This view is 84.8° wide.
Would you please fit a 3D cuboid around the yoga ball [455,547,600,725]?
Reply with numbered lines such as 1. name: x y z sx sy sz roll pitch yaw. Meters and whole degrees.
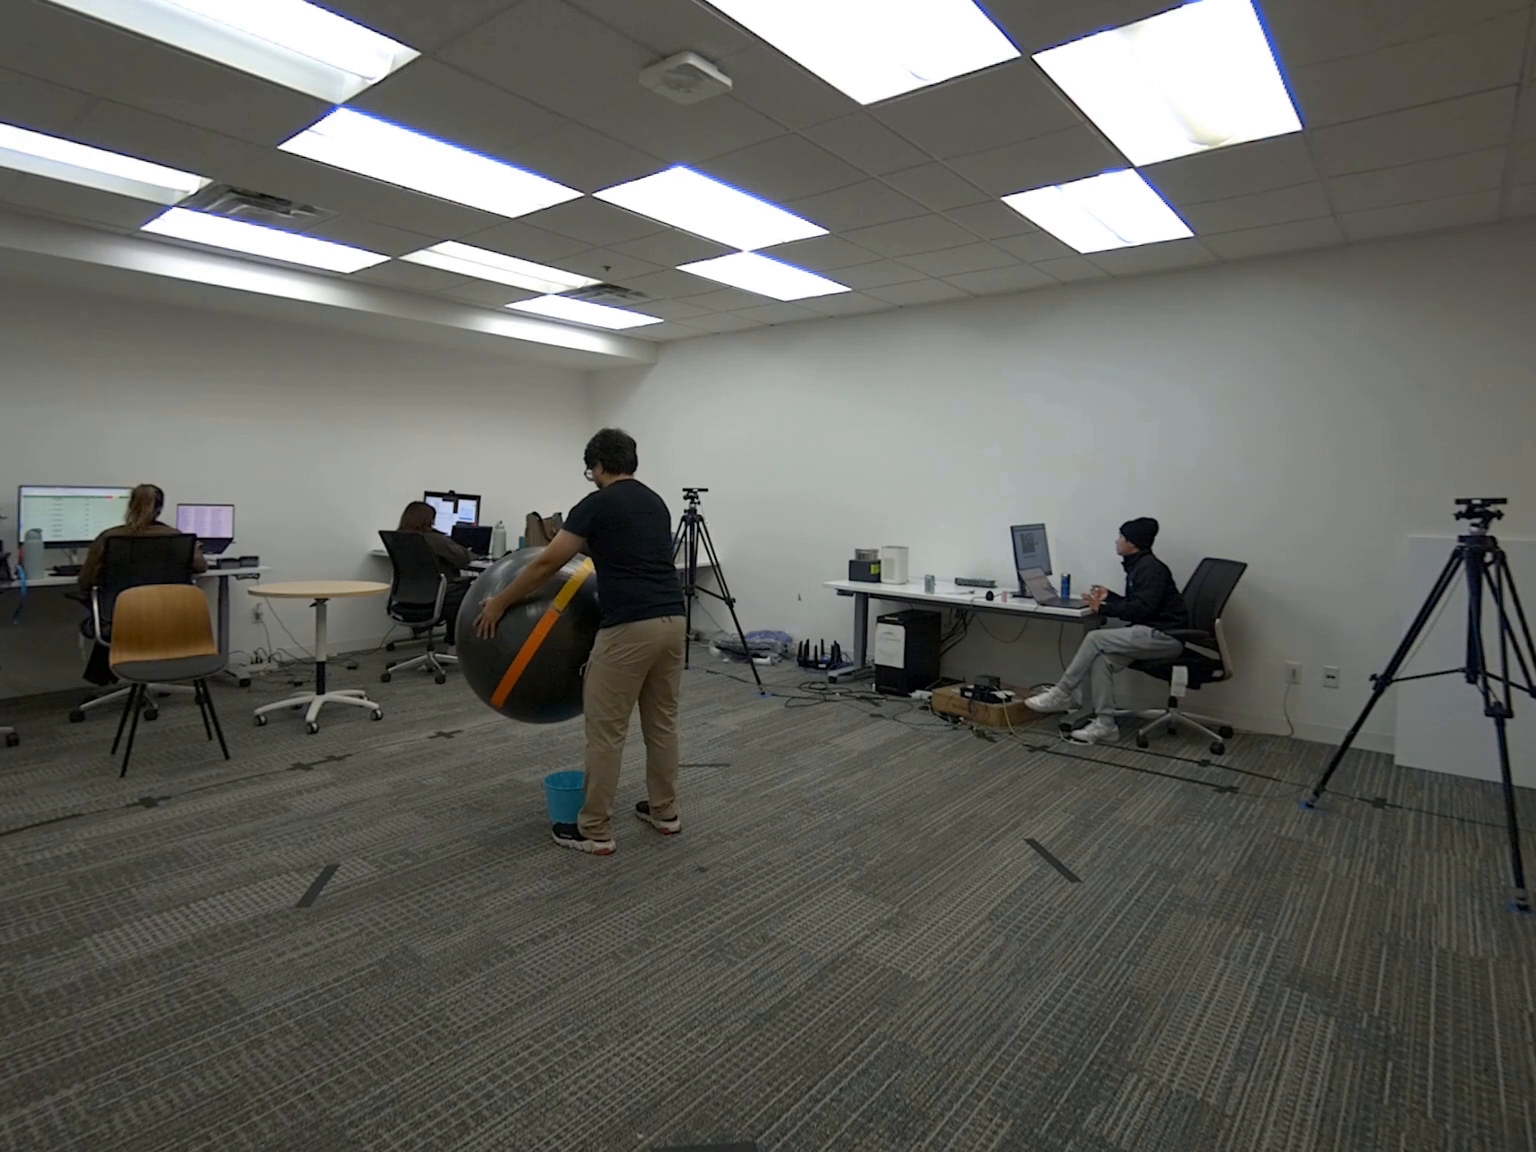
1. yoga ball: -0.984 0.254 3.694 0.757 0.756 0.762 1 4 -2
